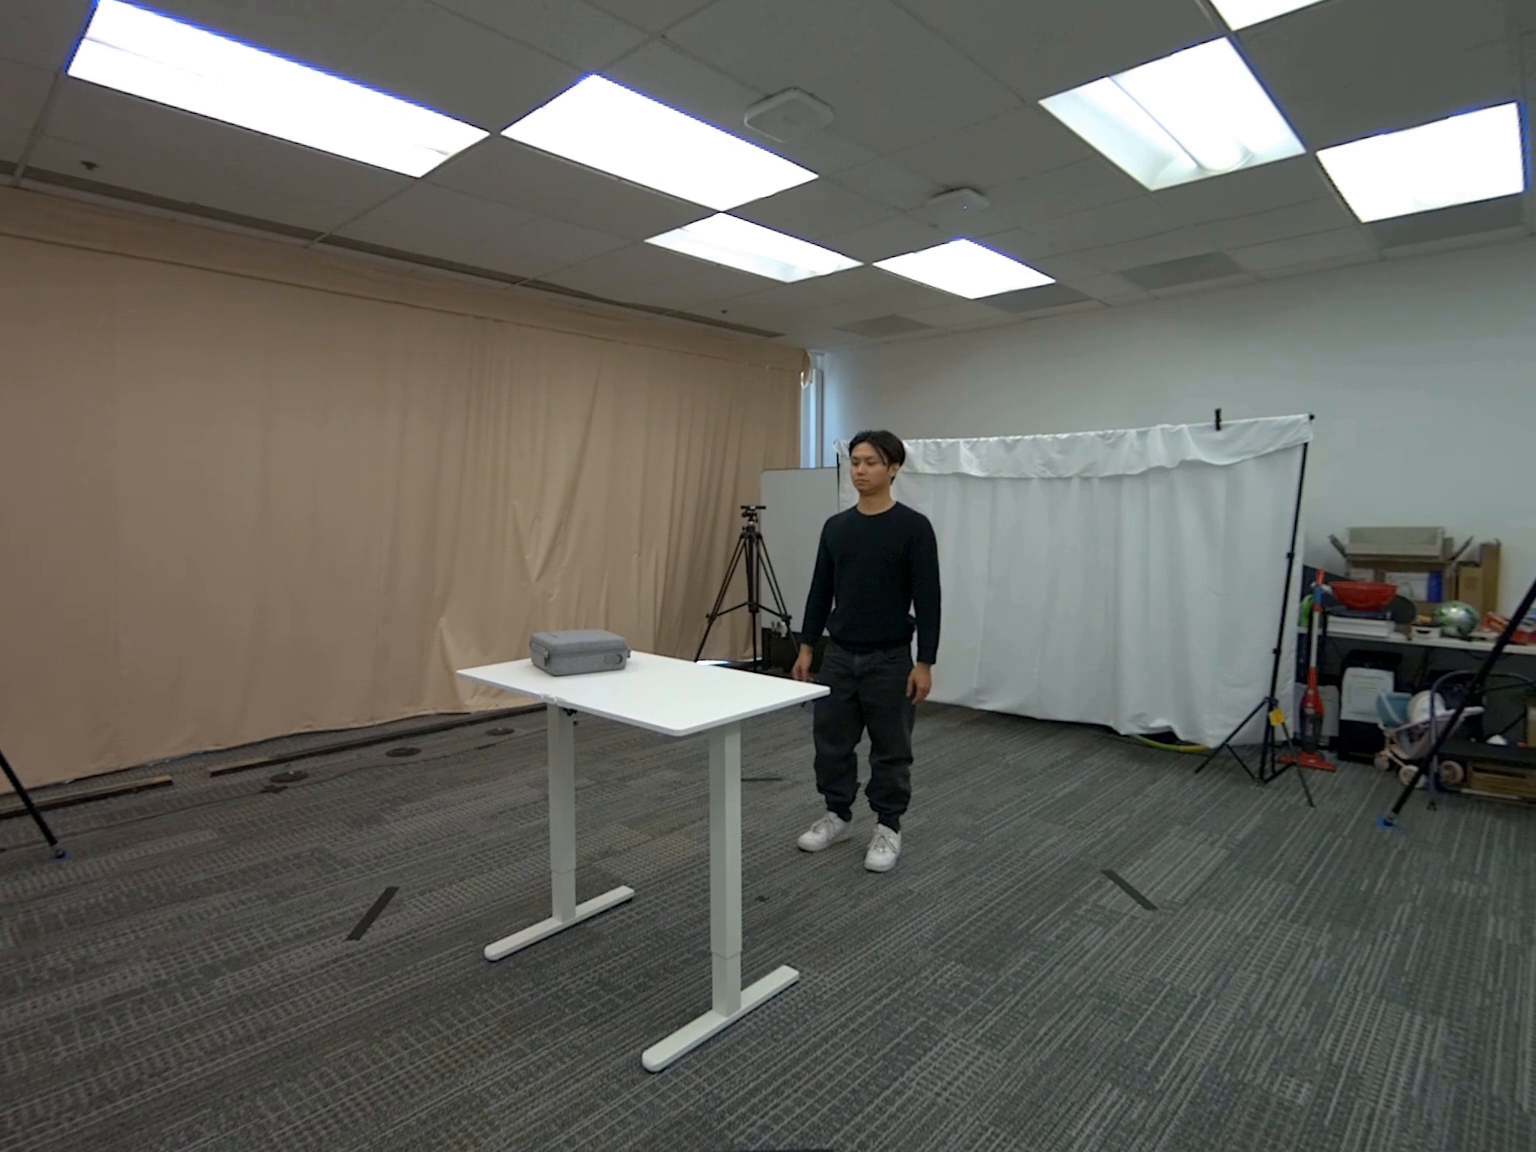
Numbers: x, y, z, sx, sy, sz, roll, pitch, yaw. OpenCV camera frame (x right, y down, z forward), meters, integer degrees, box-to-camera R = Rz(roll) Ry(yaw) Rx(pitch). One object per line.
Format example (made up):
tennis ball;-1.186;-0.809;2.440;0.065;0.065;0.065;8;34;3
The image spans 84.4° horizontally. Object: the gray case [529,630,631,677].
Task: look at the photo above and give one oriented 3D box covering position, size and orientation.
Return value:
gray case;-0.602;0.236;2.673;0.254;0.104;0.264;-2;4;-30
